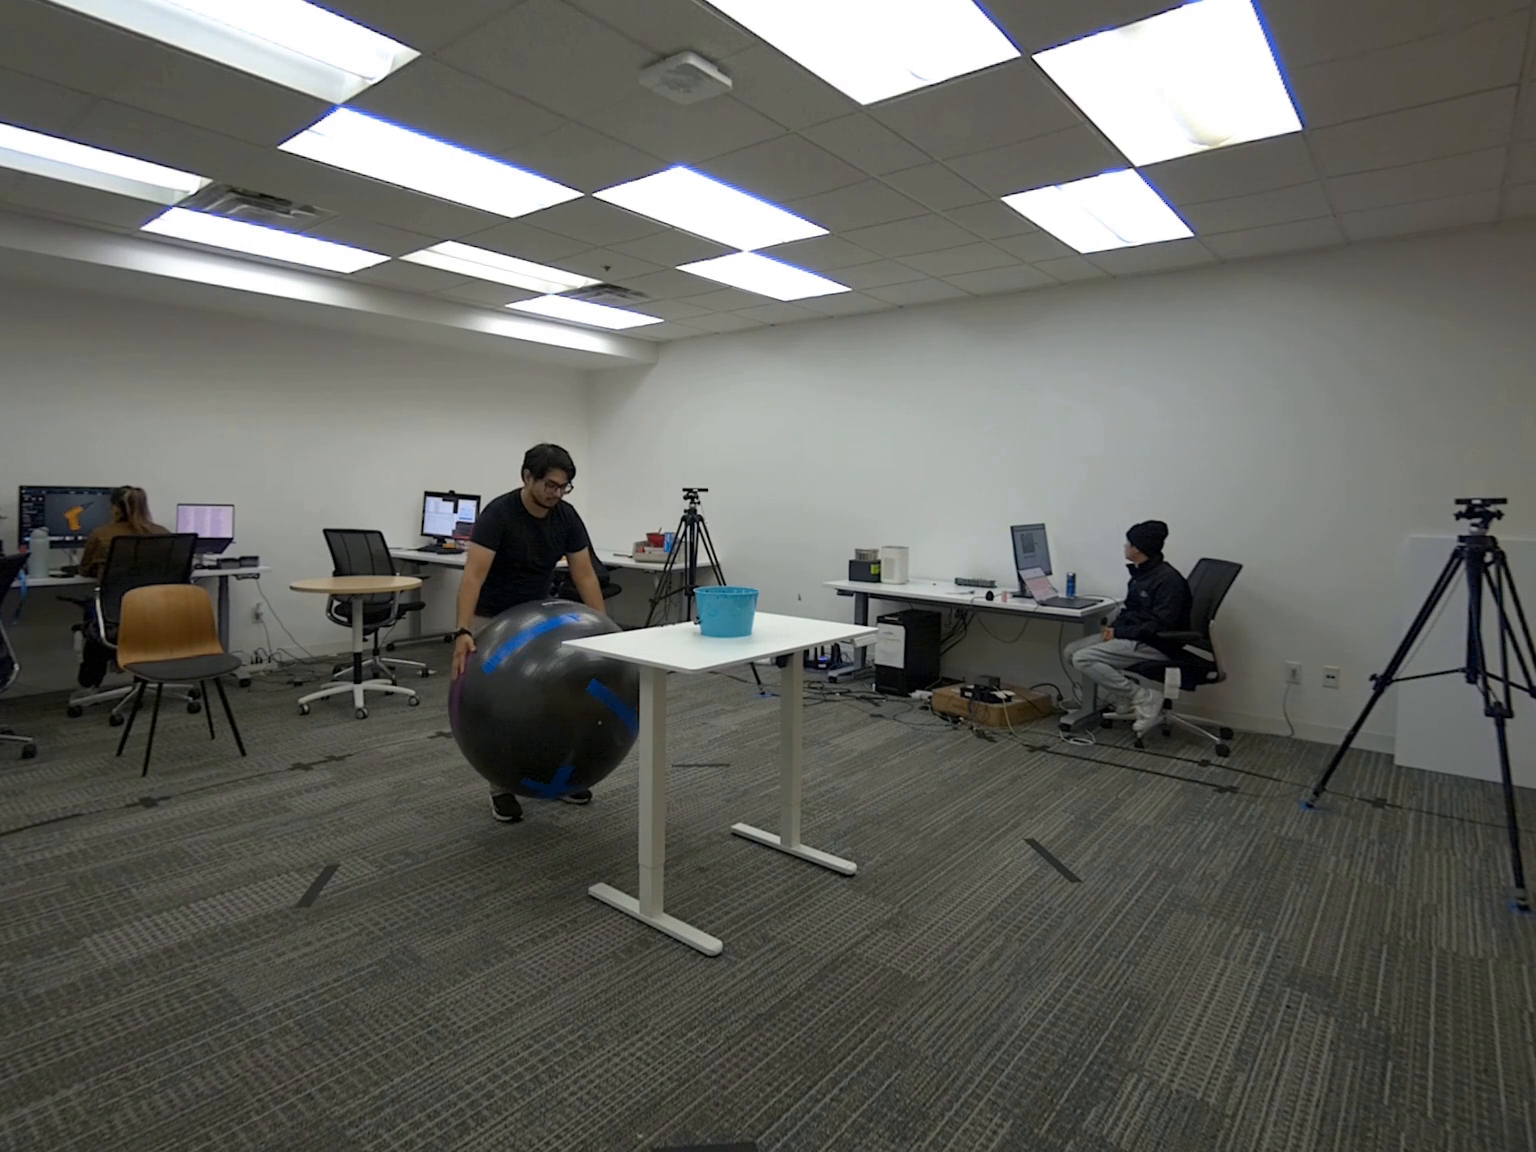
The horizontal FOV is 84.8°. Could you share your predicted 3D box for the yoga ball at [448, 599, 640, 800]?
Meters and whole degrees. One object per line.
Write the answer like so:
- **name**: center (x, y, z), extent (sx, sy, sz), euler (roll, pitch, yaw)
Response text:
- **yoga ball**: center (-0.883, 0.476, 3.318), extent (0.757, 0.755, 0.762), euler (1, 4, -2)
